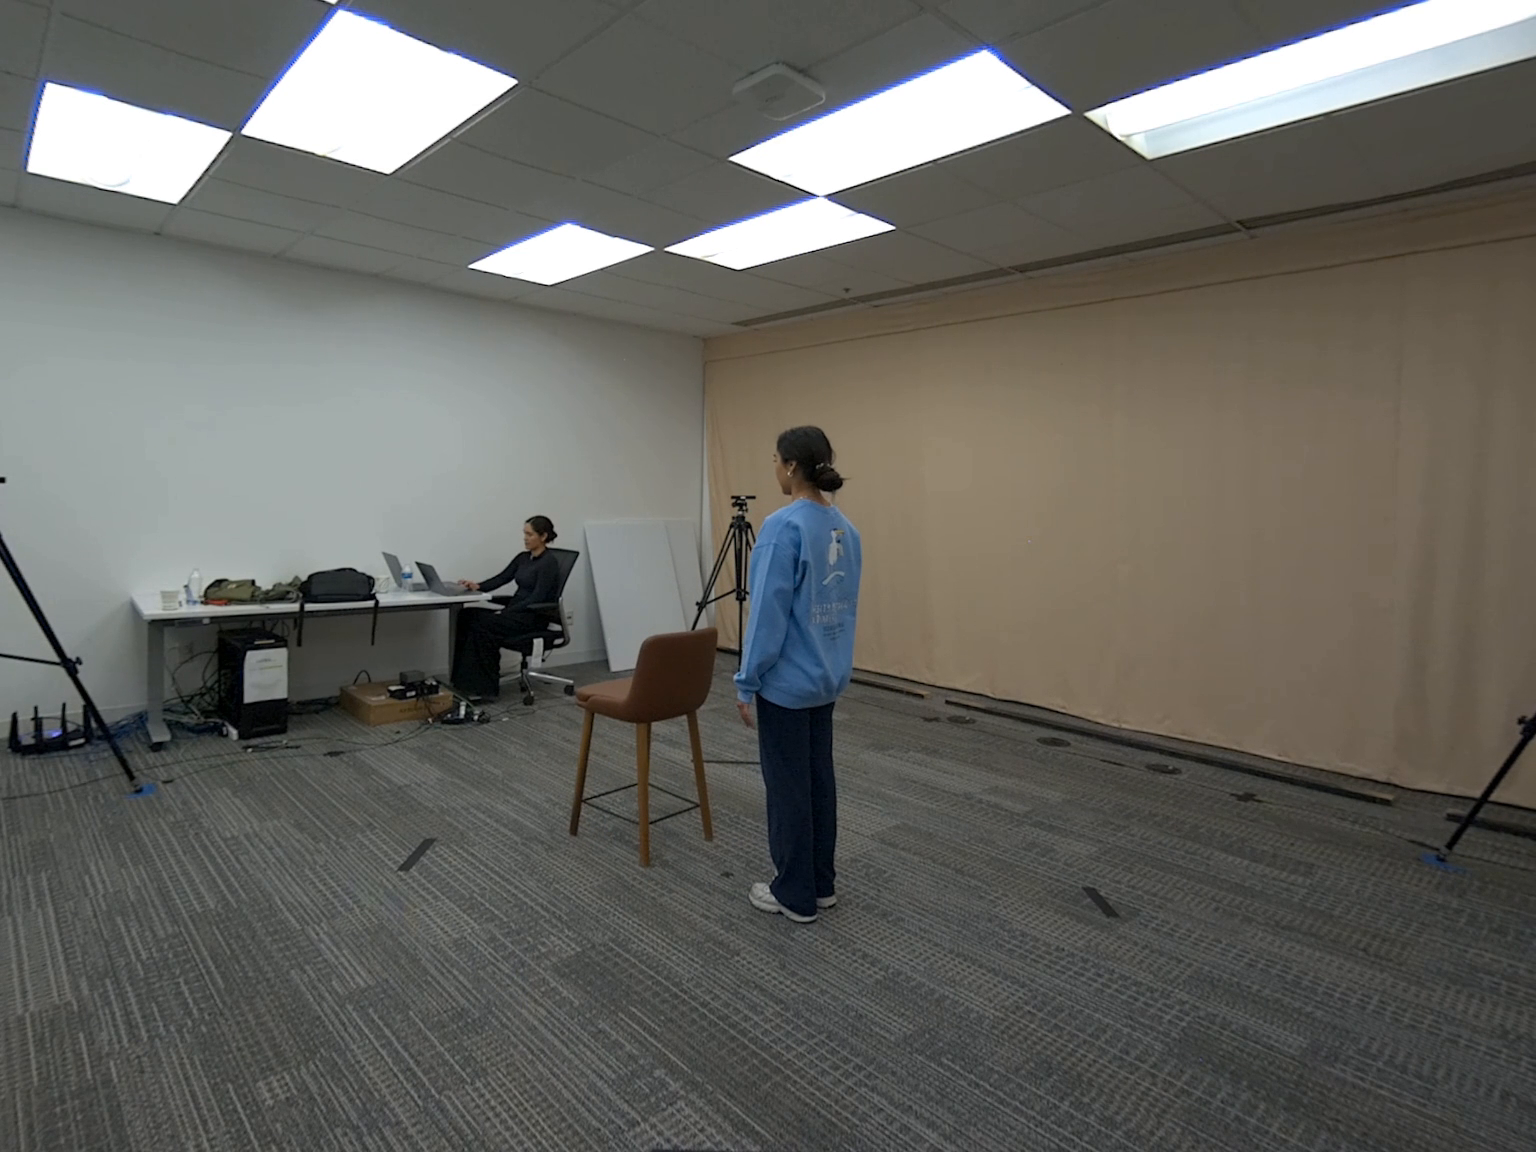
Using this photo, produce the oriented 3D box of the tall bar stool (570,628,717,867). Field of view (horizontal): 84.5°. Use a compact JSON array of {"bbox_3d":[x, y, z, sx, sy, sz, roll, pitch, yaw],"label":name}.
[{"bbox_3d":[-0.501,0.630,3.405,0.480,0.887,0.446,7,7,41],"label":"tall bar stool"}]
